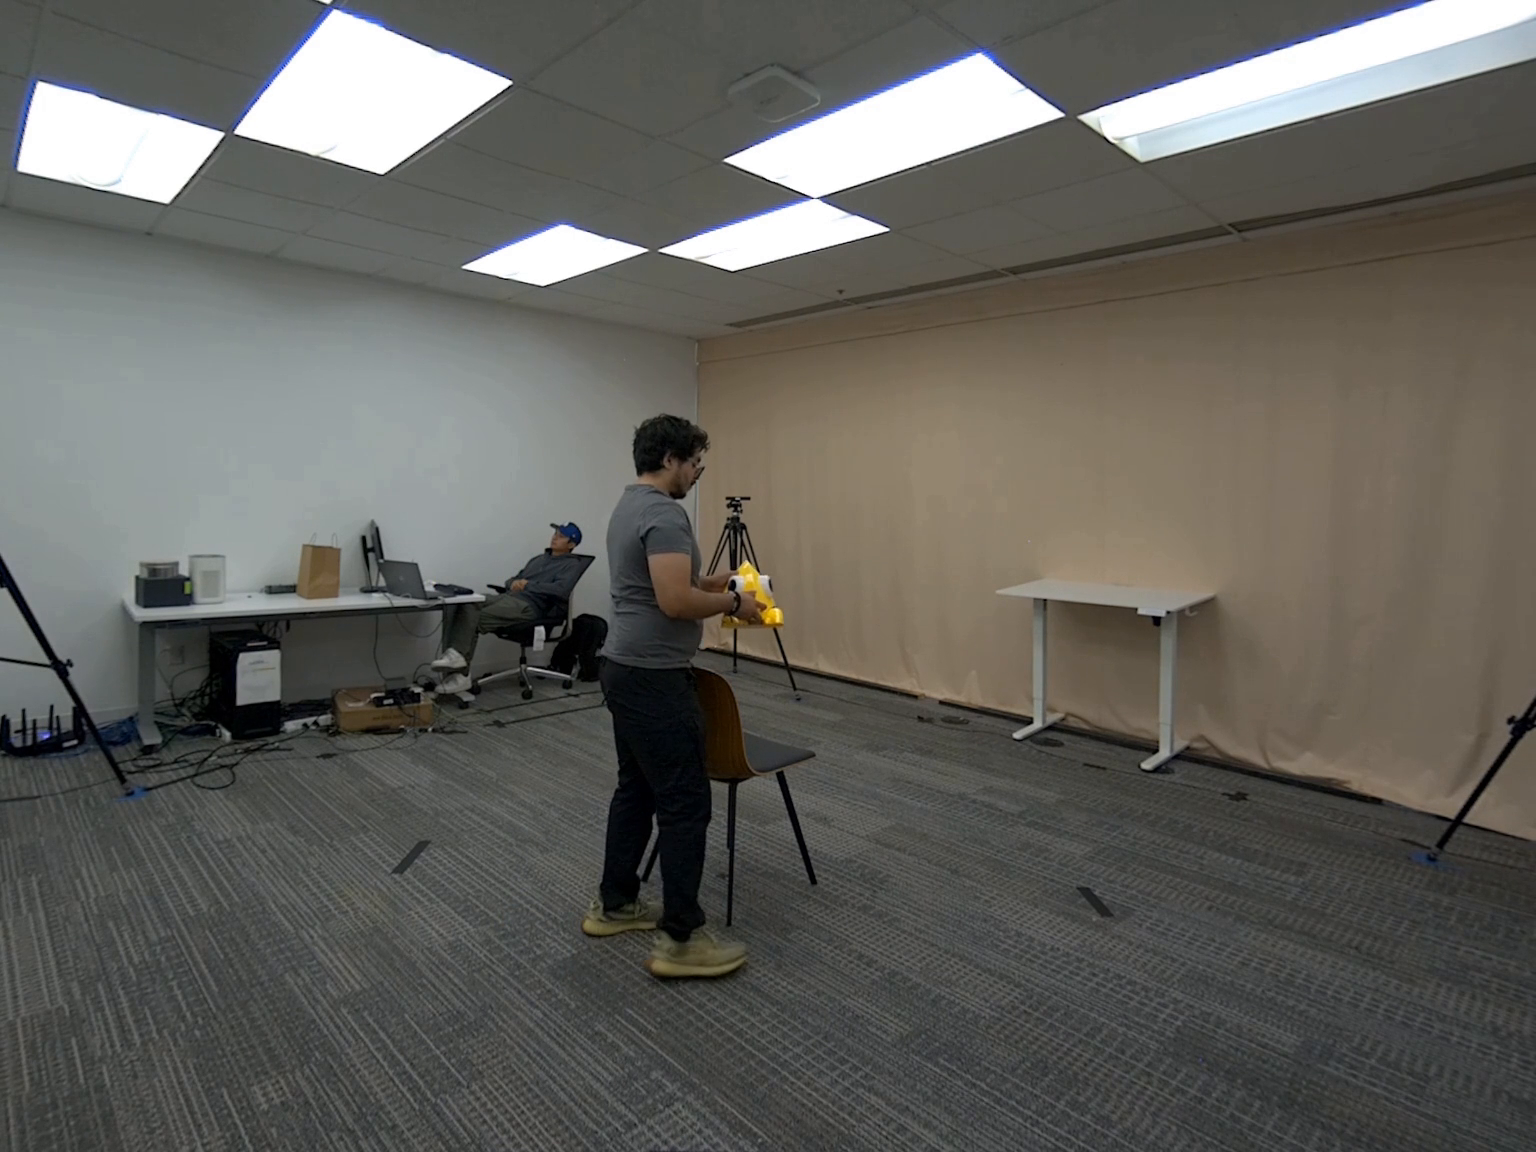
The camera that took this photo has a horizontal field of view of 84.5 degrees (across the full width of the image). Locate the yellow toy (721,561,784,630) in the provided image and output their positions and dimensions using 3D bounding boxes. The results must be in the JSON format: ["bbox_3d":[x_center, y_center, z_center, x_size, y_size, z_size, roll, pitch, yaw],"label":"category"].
[{"bbox_3d":[-0.060,0.051,2.739,0.203,0.233,0.193,1,-11,-12],"label":"yellow toy"}]
